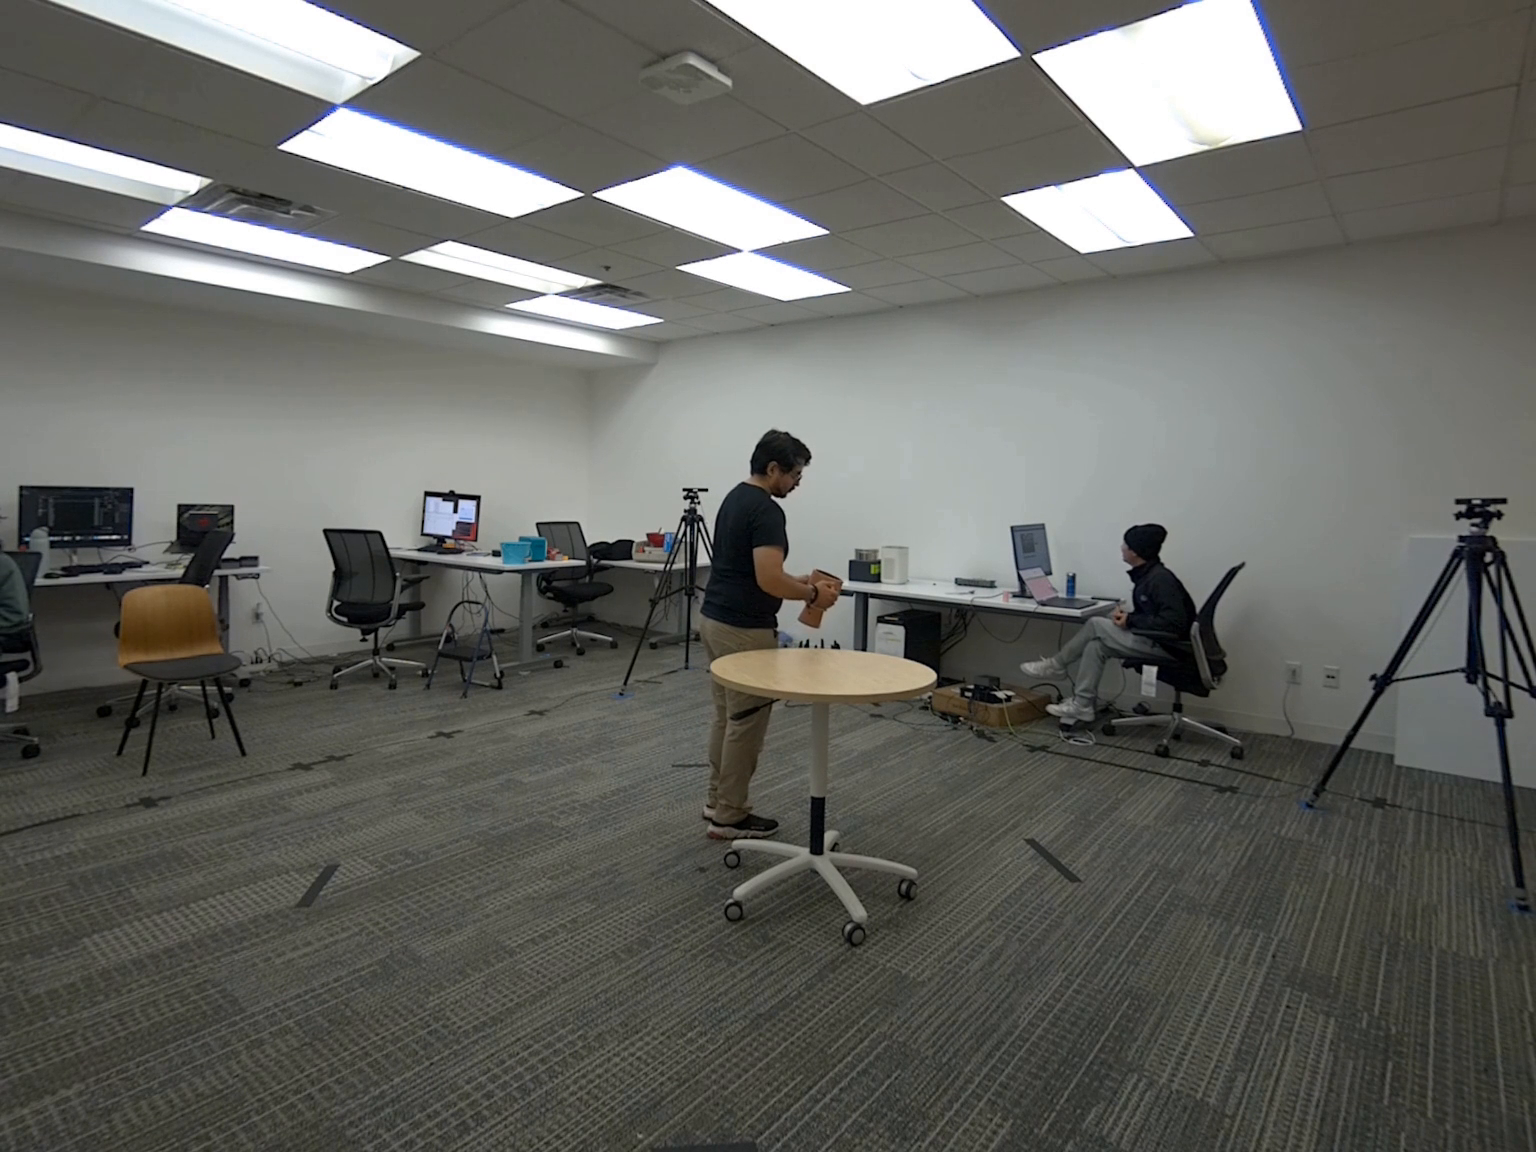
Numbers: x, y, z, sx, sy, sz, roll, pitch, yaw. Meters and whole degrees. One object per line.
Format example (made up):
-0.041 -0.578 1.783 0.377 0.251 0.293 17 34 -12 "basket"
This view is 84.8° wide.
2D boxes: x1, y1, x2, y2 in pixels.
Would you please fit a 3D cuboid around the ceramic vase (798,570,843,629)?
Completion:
0.195 0.095 3.486 0.138 0.219 0.155 25 9 20 "ceramic vase"
